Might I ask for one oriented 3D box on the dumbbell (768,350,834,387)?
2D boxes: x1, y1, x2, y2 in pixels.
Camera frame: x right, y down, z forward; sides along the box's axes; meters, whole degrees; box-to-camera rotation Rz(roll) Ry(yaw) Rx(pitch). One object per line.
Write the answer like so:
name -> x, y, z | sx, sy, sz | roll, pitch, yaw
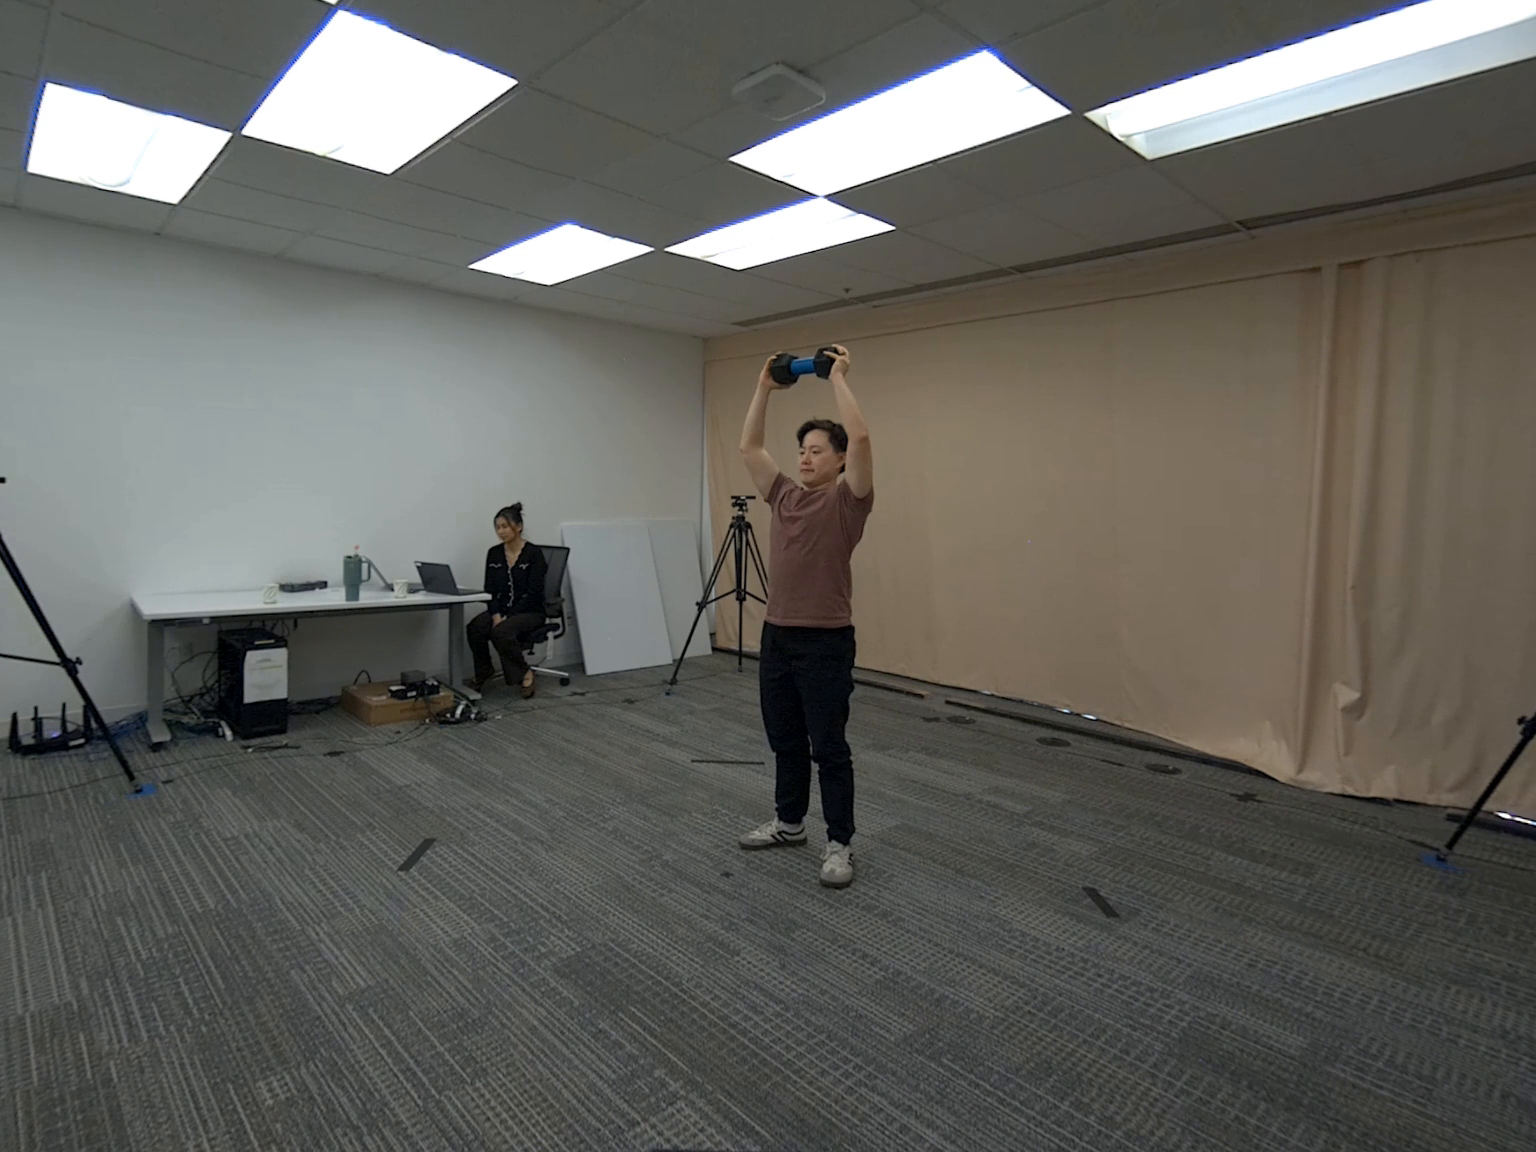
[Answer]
dumbbell -> 0.143, -0.783, 3.158 | 0.301, 0.123, 0.105 | 6, -30, 44
